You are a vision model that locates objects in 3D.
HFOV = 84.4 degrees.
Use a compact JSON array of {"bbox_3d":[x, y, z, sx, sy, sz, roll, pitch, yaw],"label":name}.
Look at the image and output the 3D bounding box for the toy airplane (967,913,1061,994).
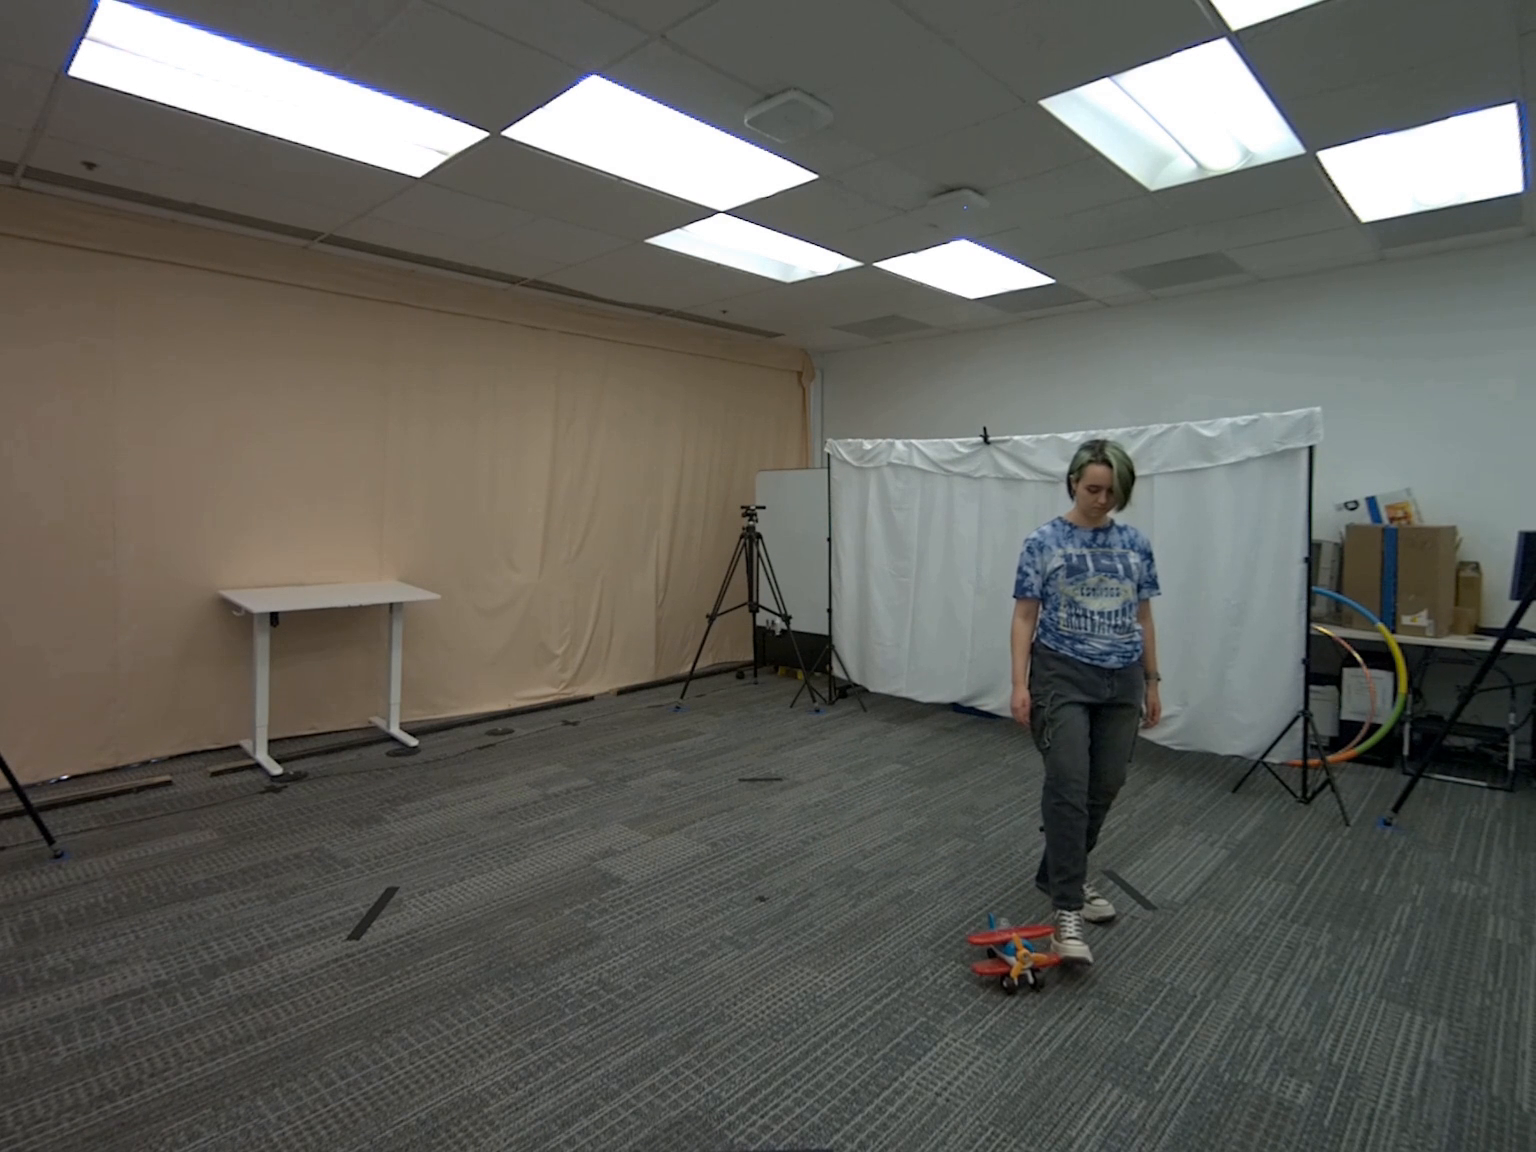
[{"bbox_3d":[0.709,1.110,2.484,0.244,0.156,0.267,-8,6,-35],"label":"toy airplane"}]
